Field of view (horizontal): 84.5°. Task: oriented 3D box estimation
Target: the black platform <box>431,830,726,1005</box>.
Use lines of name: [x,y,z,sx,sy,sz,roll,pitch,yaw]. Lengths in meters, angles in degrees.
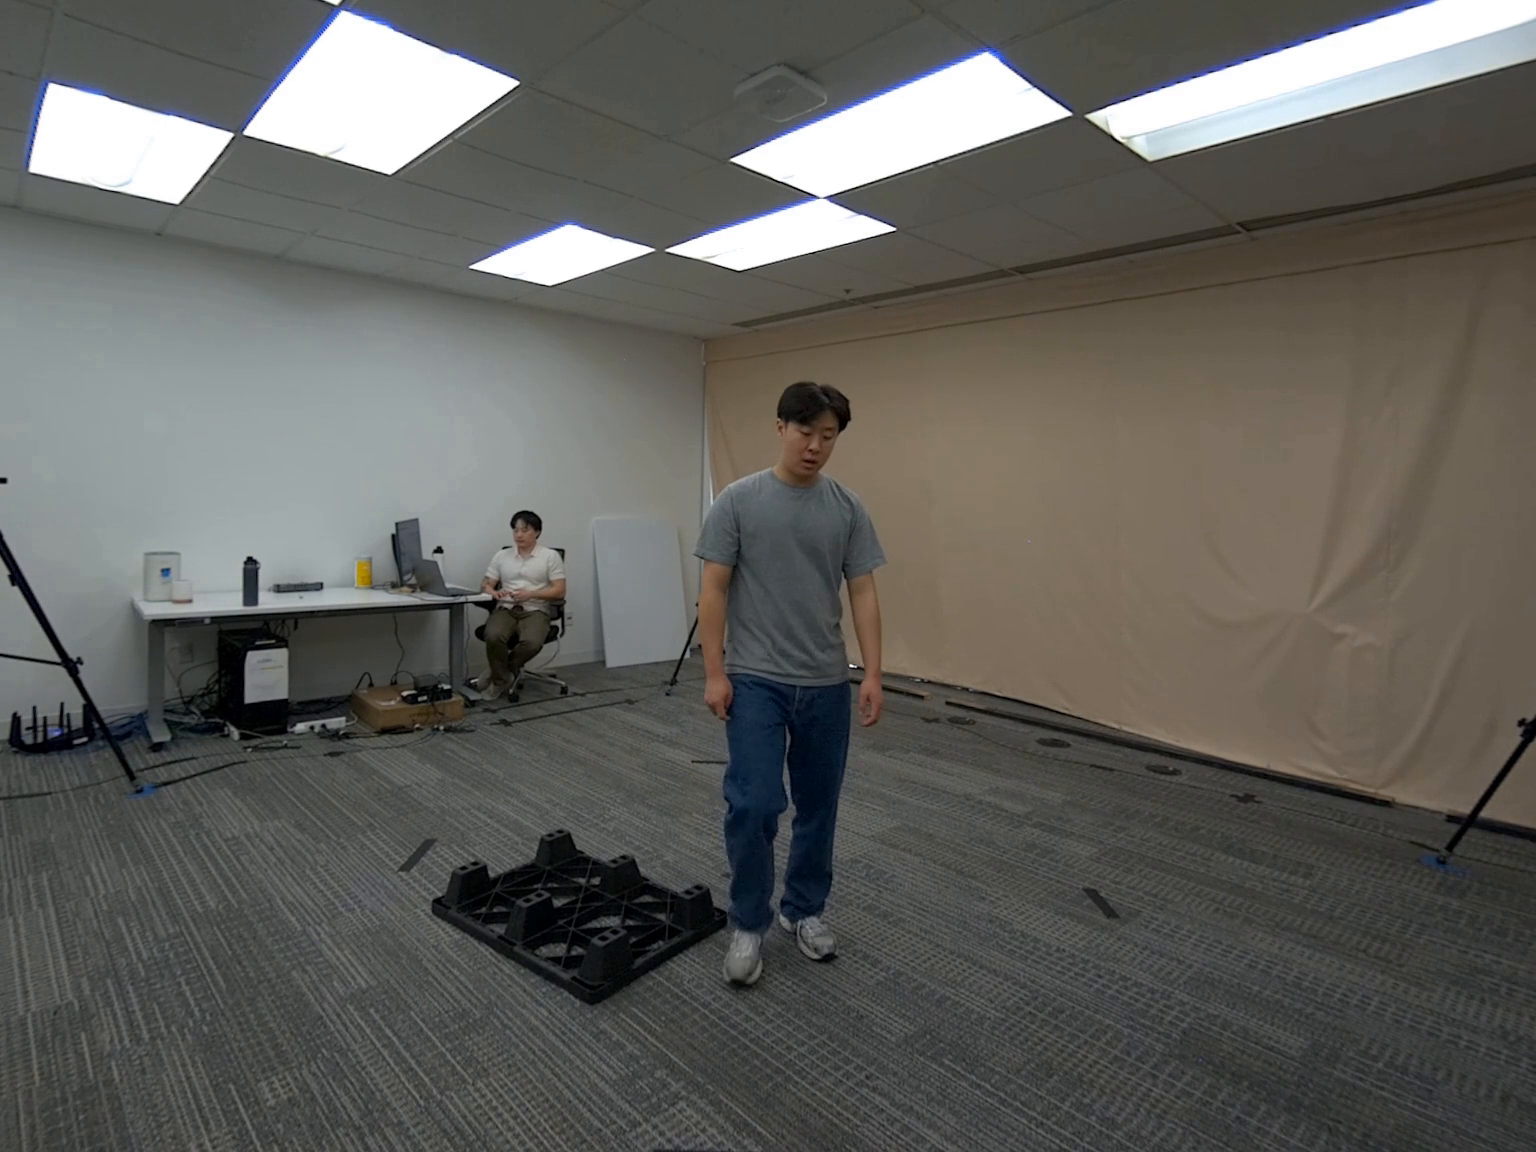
black platform: [-0.632,1.060,2.763,0.825,0.143,0.592,5,6,37]
